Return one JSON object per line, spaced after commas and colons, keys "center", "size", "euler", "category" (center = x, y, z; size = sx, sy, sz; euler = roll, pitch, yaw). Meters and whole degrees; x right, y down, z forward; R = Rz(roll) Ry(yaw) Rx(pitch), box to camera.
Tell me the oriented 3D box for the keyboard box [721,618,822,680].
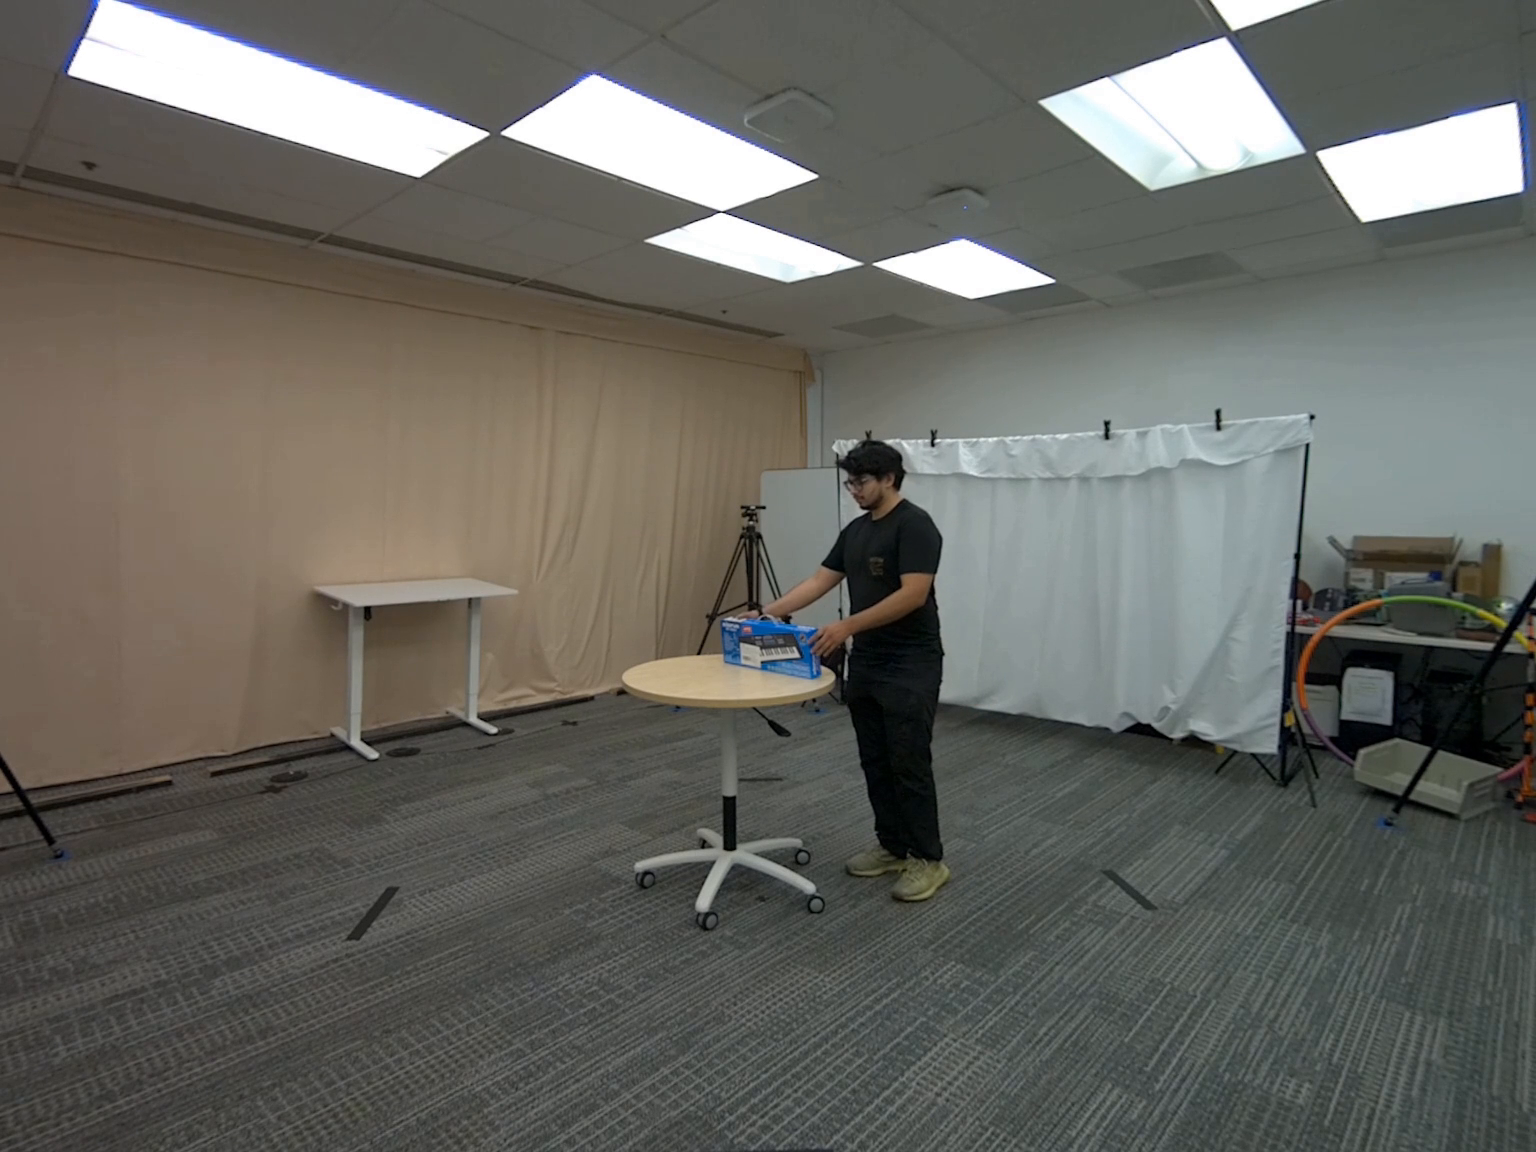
{"center": [0.007, 0.265, 3.108], "size": [0.451, 0.175, 0.057], "euler": [4, 11, 44], "category": "keyboard box"}
